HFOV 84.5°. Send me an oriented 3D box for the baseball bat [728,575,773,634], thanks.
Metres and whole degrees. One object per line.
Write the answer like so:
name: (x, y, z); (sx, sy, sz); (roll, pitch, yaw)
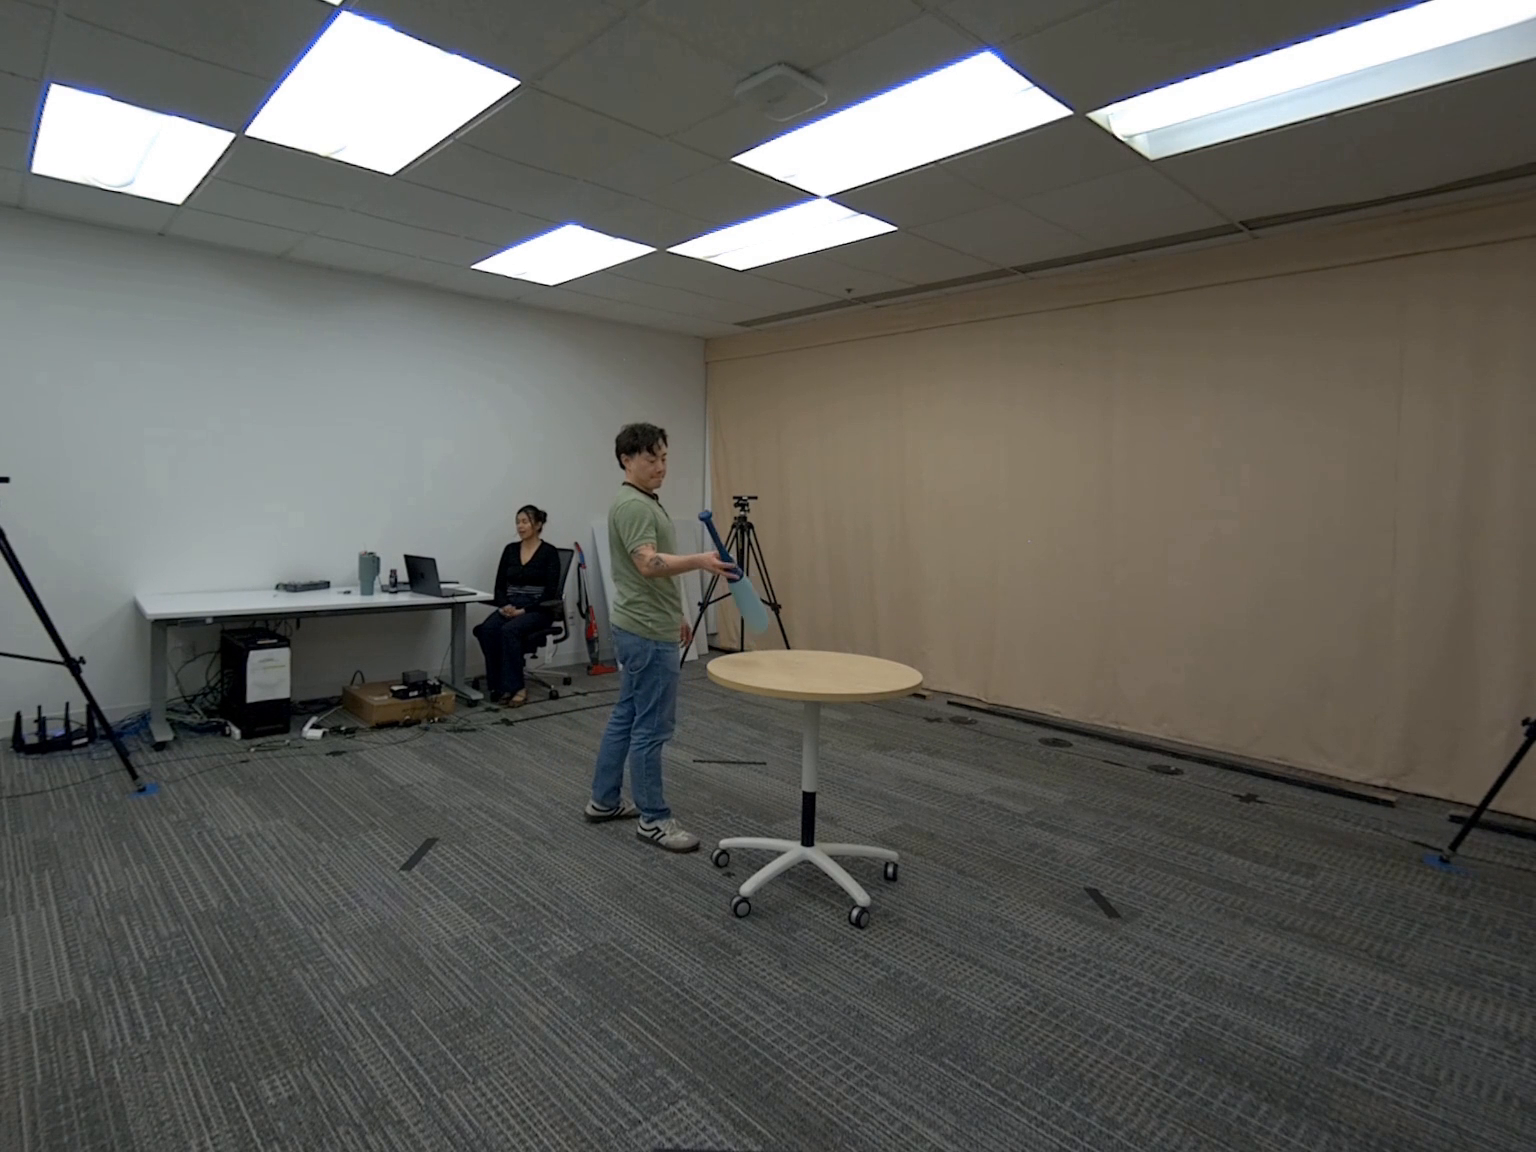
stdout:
baseball bat: (-0.131, -0.013, 3.002); (0.089, 0.528, 0.091); (-17, 34, 10)
